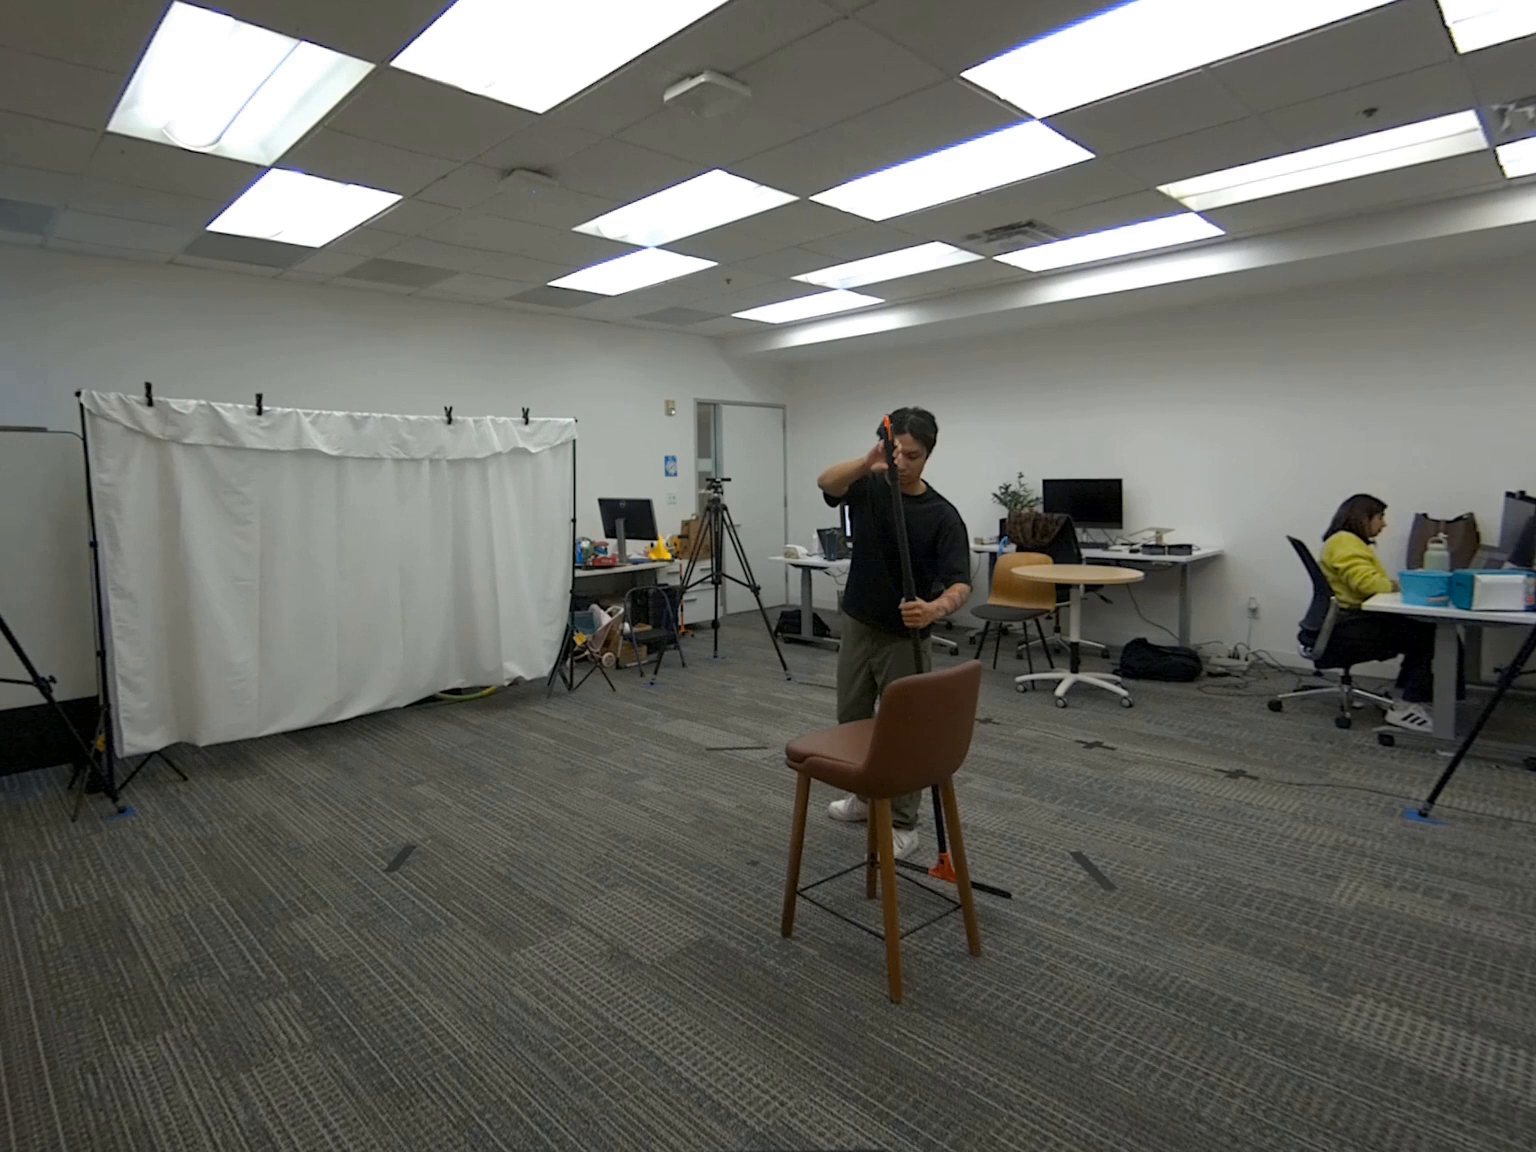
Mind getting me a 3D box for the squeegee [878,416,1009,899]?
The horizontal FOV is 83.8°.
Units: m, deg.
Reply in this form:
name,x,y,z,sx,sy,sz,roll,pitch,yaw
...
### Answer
name,x,y,z,sx,sy,sz,roll,pitch,yaw
squeegee,0.460,0.277,2.672,0.451,1.522,0.052,3,13,41
